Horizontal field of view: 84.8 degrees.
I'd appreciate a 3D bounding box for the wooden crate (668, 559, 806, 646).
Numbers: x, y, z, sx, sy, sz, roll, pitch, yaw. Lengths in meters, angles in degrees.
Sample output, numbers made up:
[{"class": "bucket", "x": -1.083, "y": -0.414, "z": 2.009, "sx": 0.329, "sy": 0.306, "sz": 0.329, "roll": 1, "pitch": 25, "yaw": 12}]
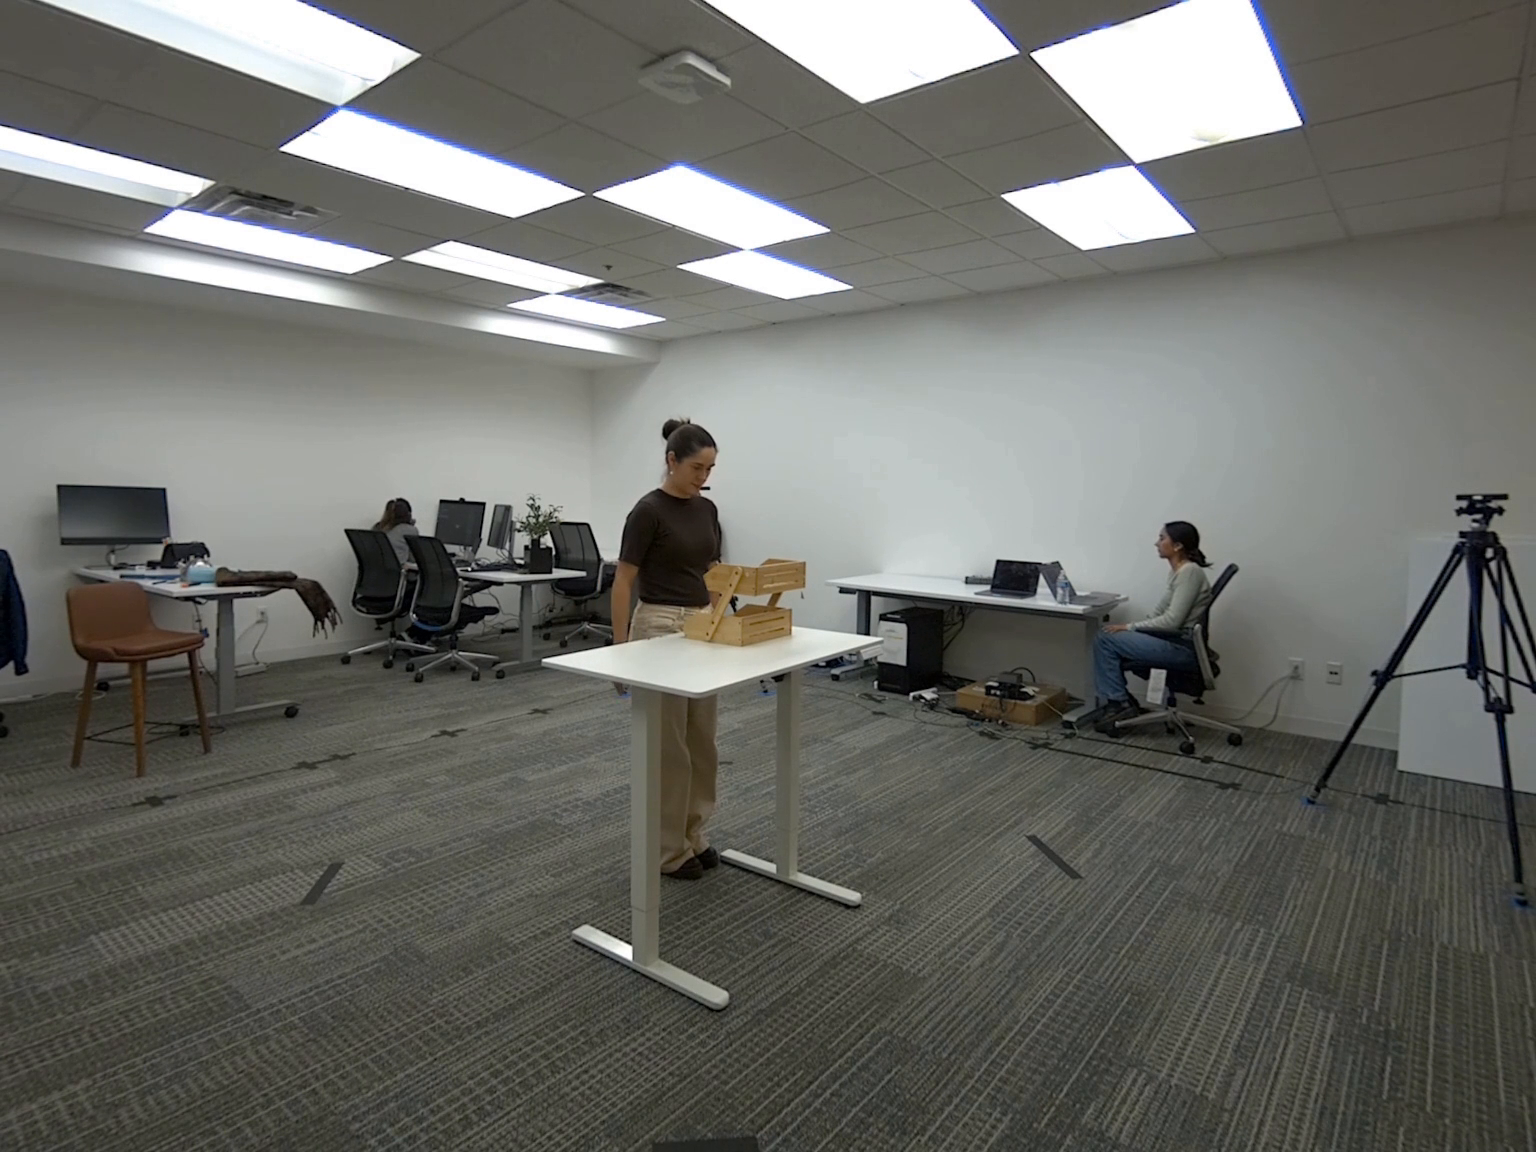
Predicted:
[{"class": "wooden crate", "x": -0.093, "y": 0.071, "z": 2.888, "sx": 0.312, "sy": 0.272, "sz": 0.315, "roll": 5, "pitch": 7, "yaw": 35}]
